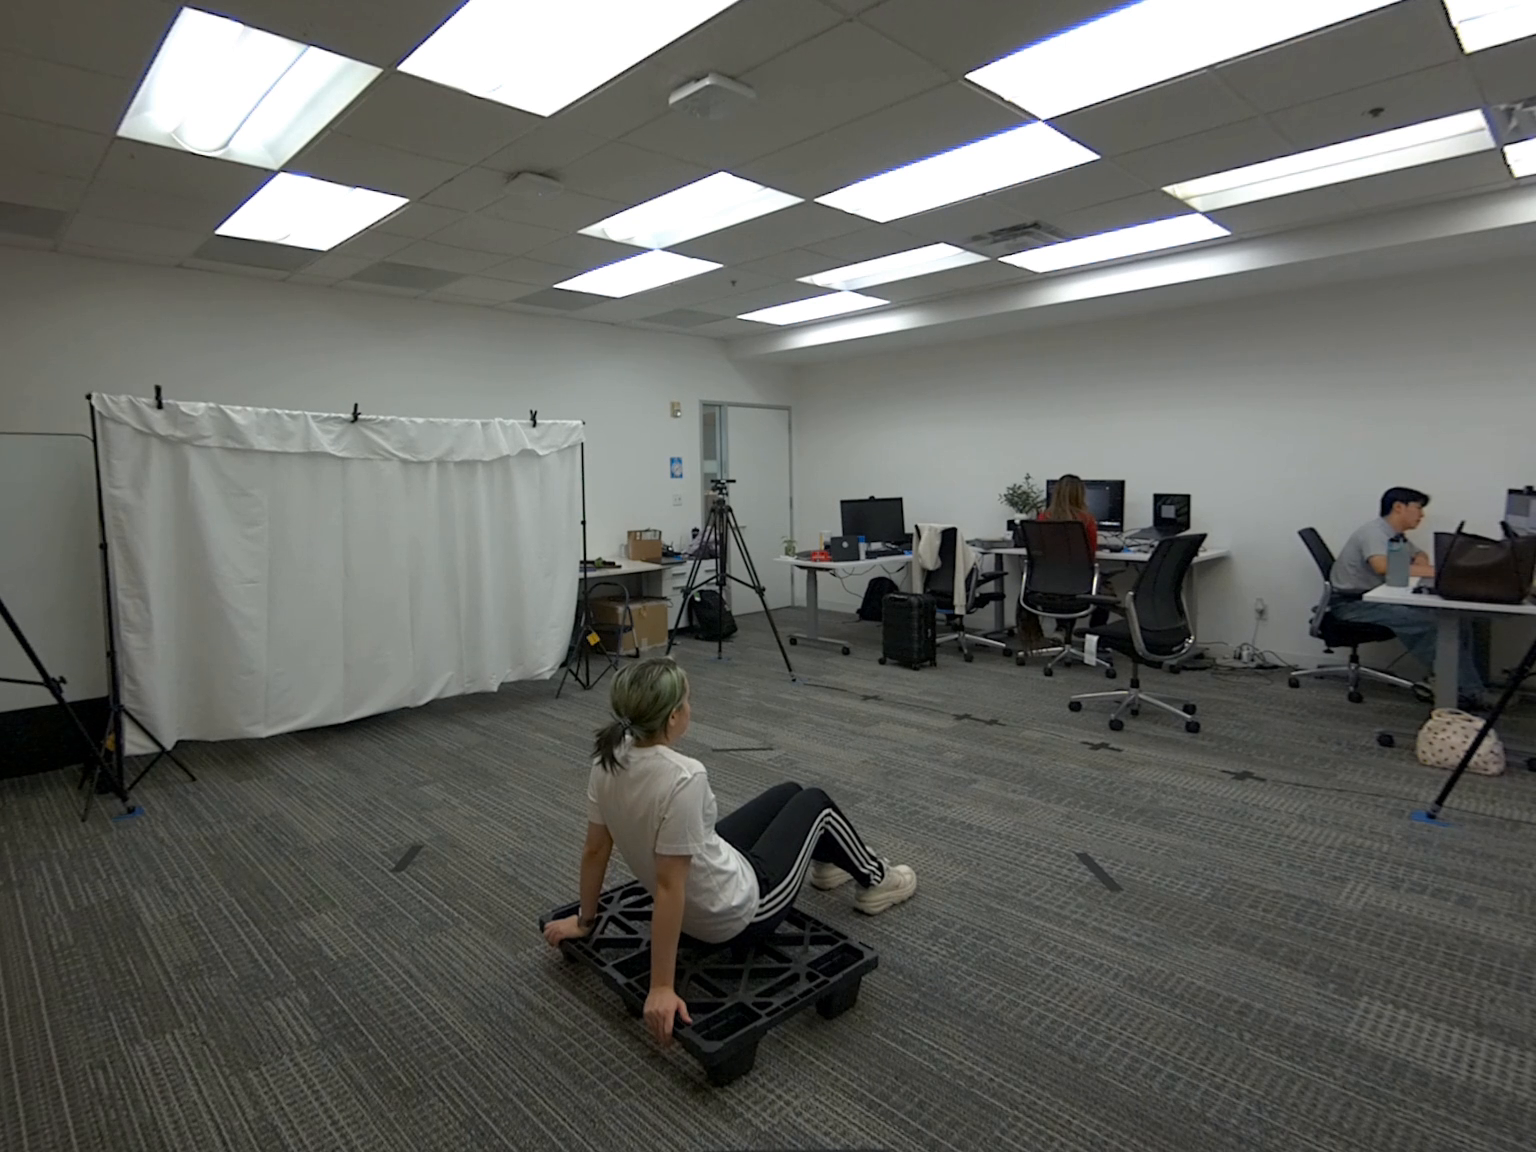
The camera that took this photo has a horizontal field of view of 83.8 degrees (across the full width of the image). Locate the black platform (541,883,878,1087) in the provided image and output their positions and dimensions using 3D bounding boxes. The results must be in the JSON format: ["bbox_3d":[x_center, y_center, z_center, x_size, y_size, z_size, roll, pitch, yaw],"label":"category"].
[{"bbox_3d":[-0.187,1.066,2.397,0.589,0.142,0.831,-6,8,-40],"label":"black platform"}]
